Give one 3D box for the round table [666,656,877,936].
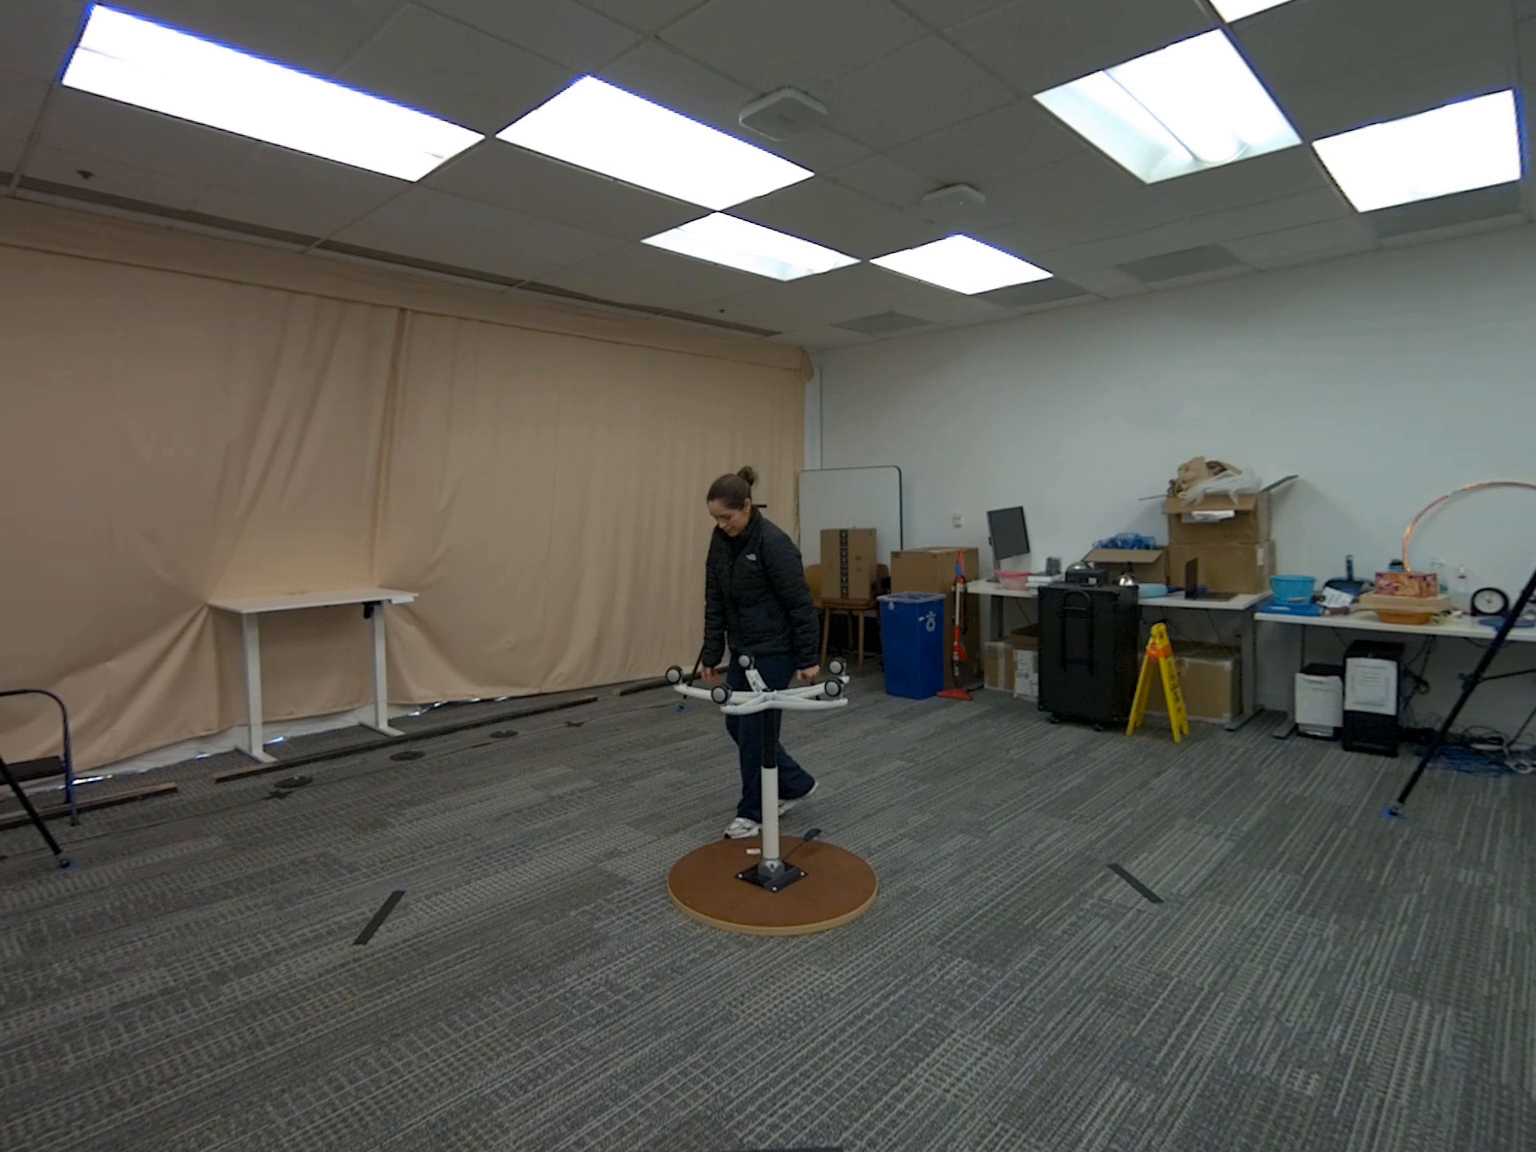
[{"bbox_3d":[0.024,0.726,3.073,0.784,0.784,0.788,-1,4,-2],"label":"round table"}]
